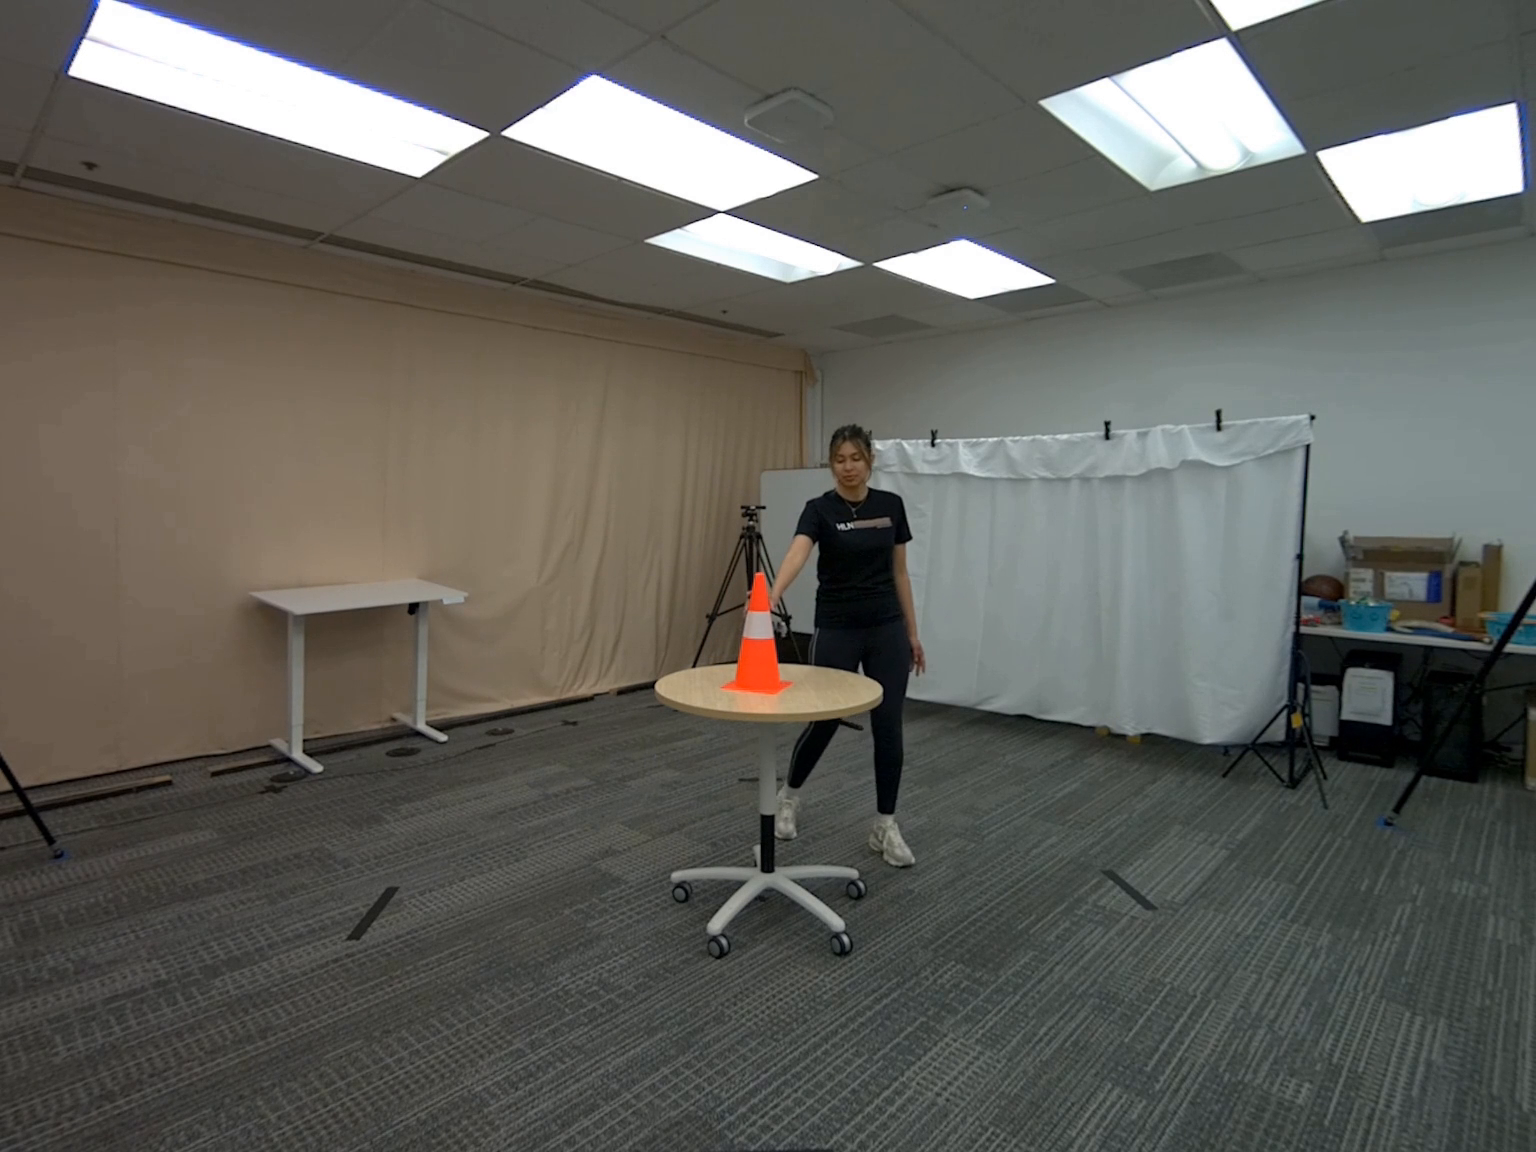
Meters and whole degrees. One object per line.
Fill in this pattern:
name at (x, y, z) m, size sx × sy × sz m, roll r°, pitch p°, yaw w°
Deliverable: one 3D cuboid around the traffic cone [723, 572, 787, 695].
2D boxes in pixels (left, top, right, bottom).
traffic cone at (-0.029, 0.187, 2.833) m, size 0.208 × 0.383 × 0.201 m, roll 1°, pitch 4°, yaw 22°
